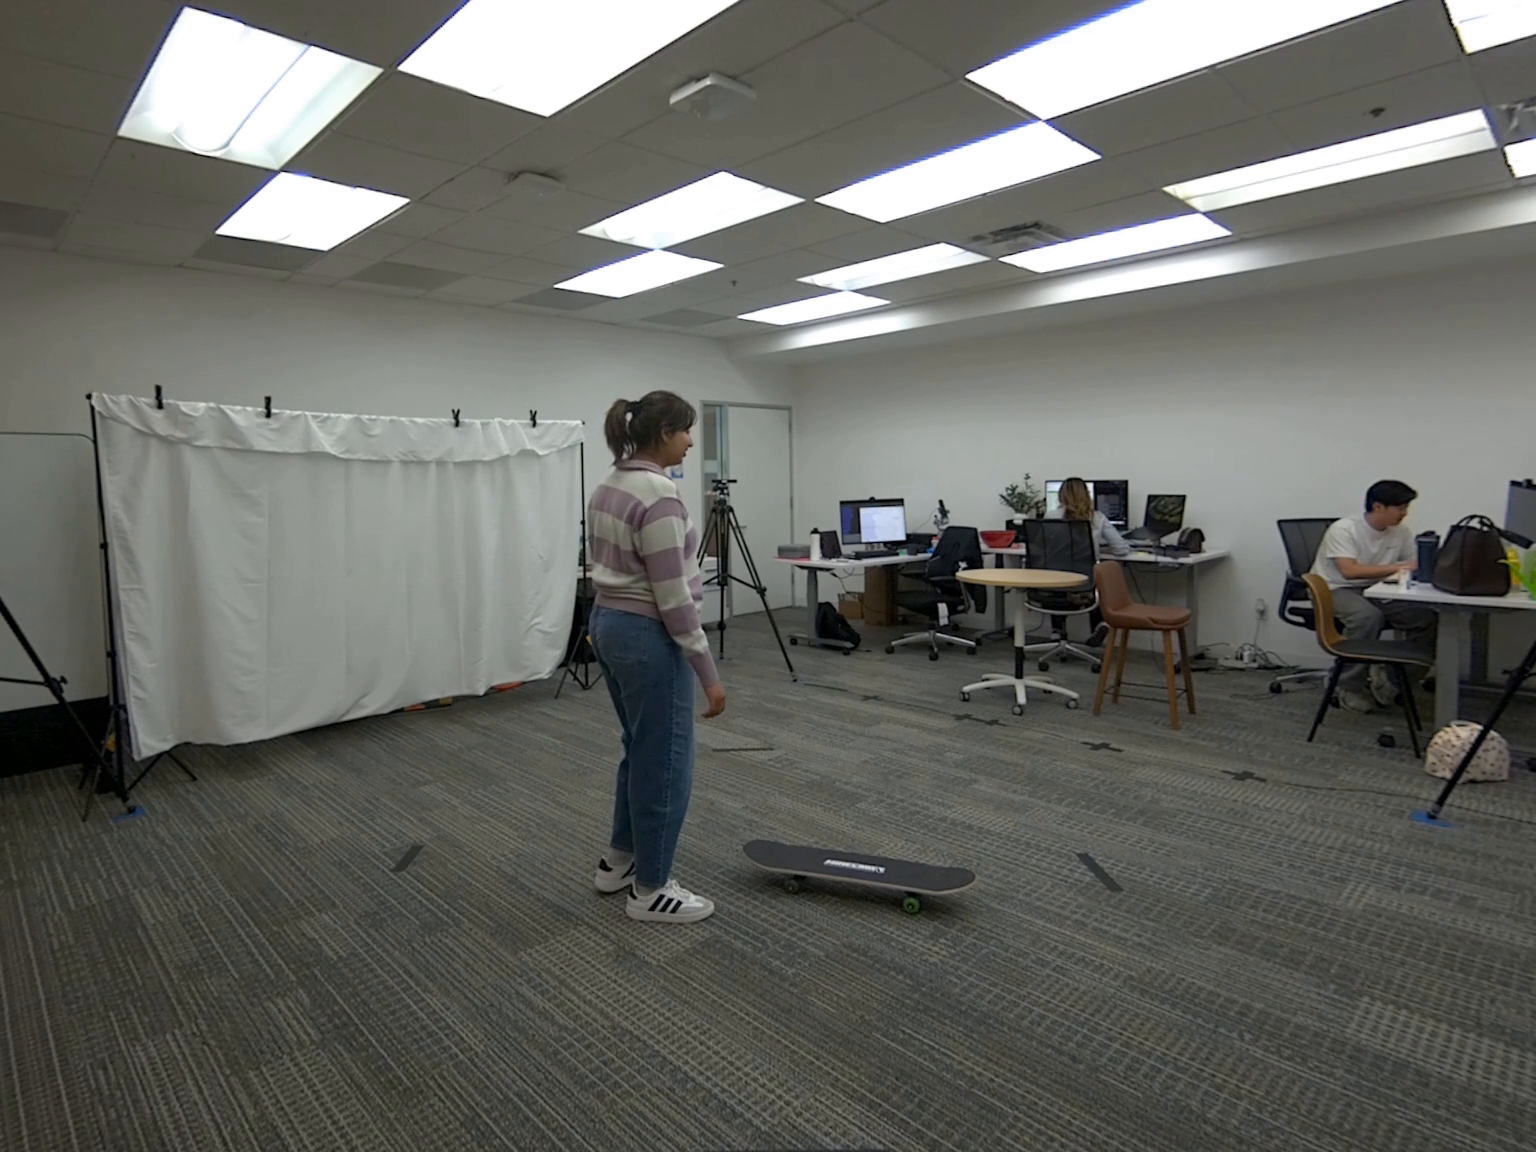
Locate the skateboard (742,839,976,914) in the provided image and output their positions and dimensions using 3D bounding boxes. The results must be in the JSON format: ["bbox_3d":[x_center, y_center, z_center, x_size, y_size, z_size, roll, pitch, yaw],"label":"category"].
[{"bbox_3d":[0.294,1.007,2.873,0.801,0.110,0.190,1,6,21],"label":"skateboard"}]
